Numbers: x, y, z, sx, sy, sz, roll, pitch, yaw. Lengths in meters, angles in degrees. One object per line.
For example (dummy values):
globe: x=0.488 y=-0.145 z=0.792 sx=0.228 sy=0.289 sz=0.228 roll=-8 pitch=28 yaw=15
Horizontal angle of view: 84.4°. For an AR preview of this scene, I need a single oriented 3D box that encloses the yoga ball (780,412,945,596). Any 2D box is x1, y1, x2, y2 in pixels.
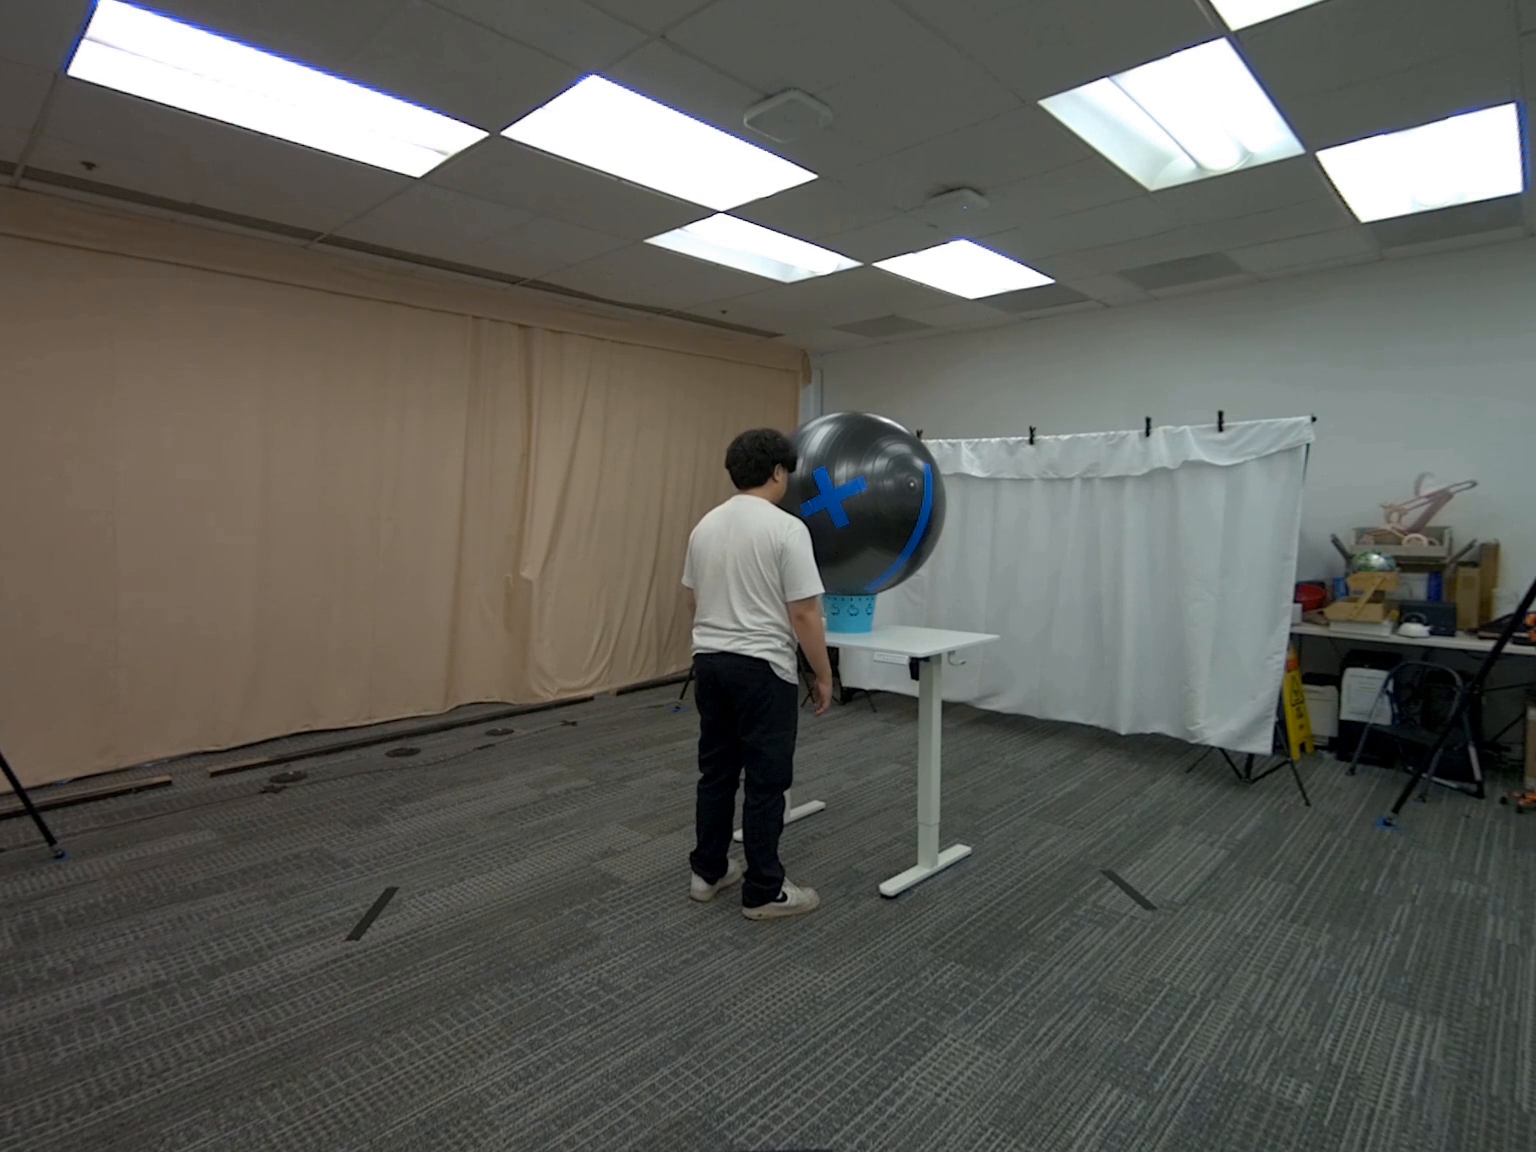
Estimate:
yoga ball: x=0.337 y=-0.281 z=3.437 sx=0.757 sy=0.756 sz=0.760 roll=0 pitch=4 yaw=-2
